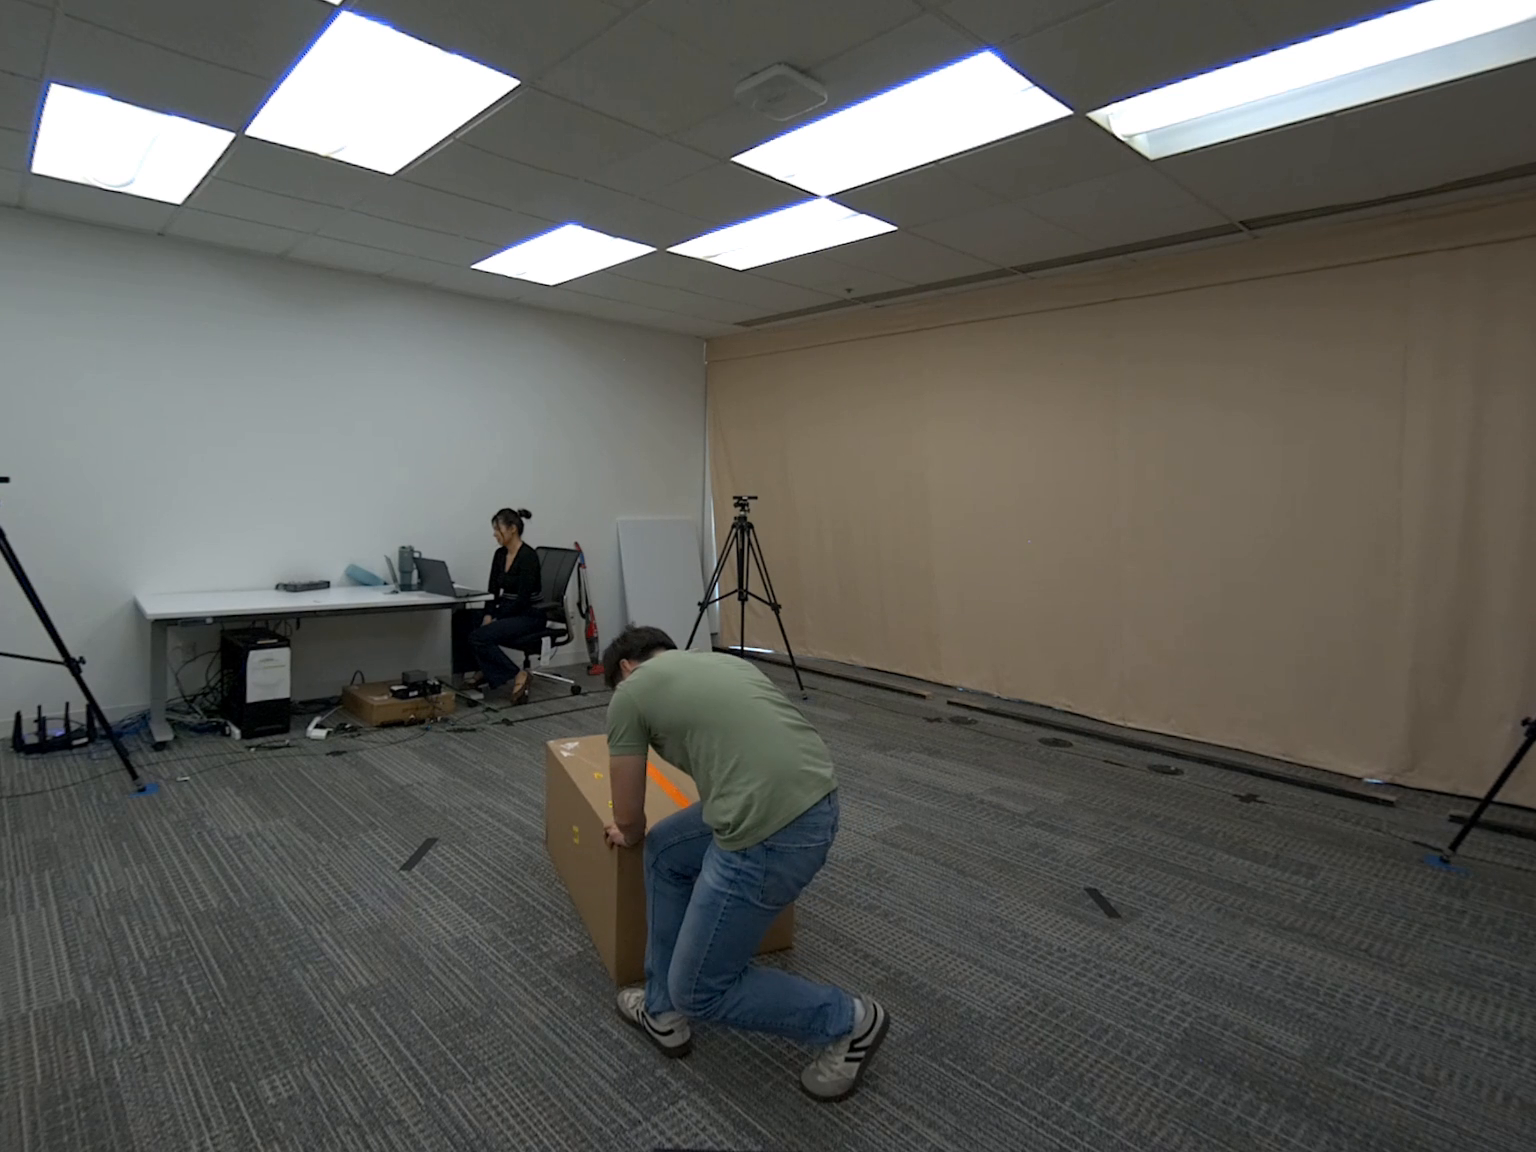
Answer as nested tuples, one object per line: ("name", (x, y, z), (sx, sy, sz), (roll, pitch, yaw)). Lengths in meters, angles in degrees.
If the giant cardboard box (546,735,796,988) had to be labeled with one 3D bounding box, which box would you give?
("giant cardboard box", (-0.401, 0.900, 2.953), (0.567, 0.425, 1.047), (-1, 6, -25))
